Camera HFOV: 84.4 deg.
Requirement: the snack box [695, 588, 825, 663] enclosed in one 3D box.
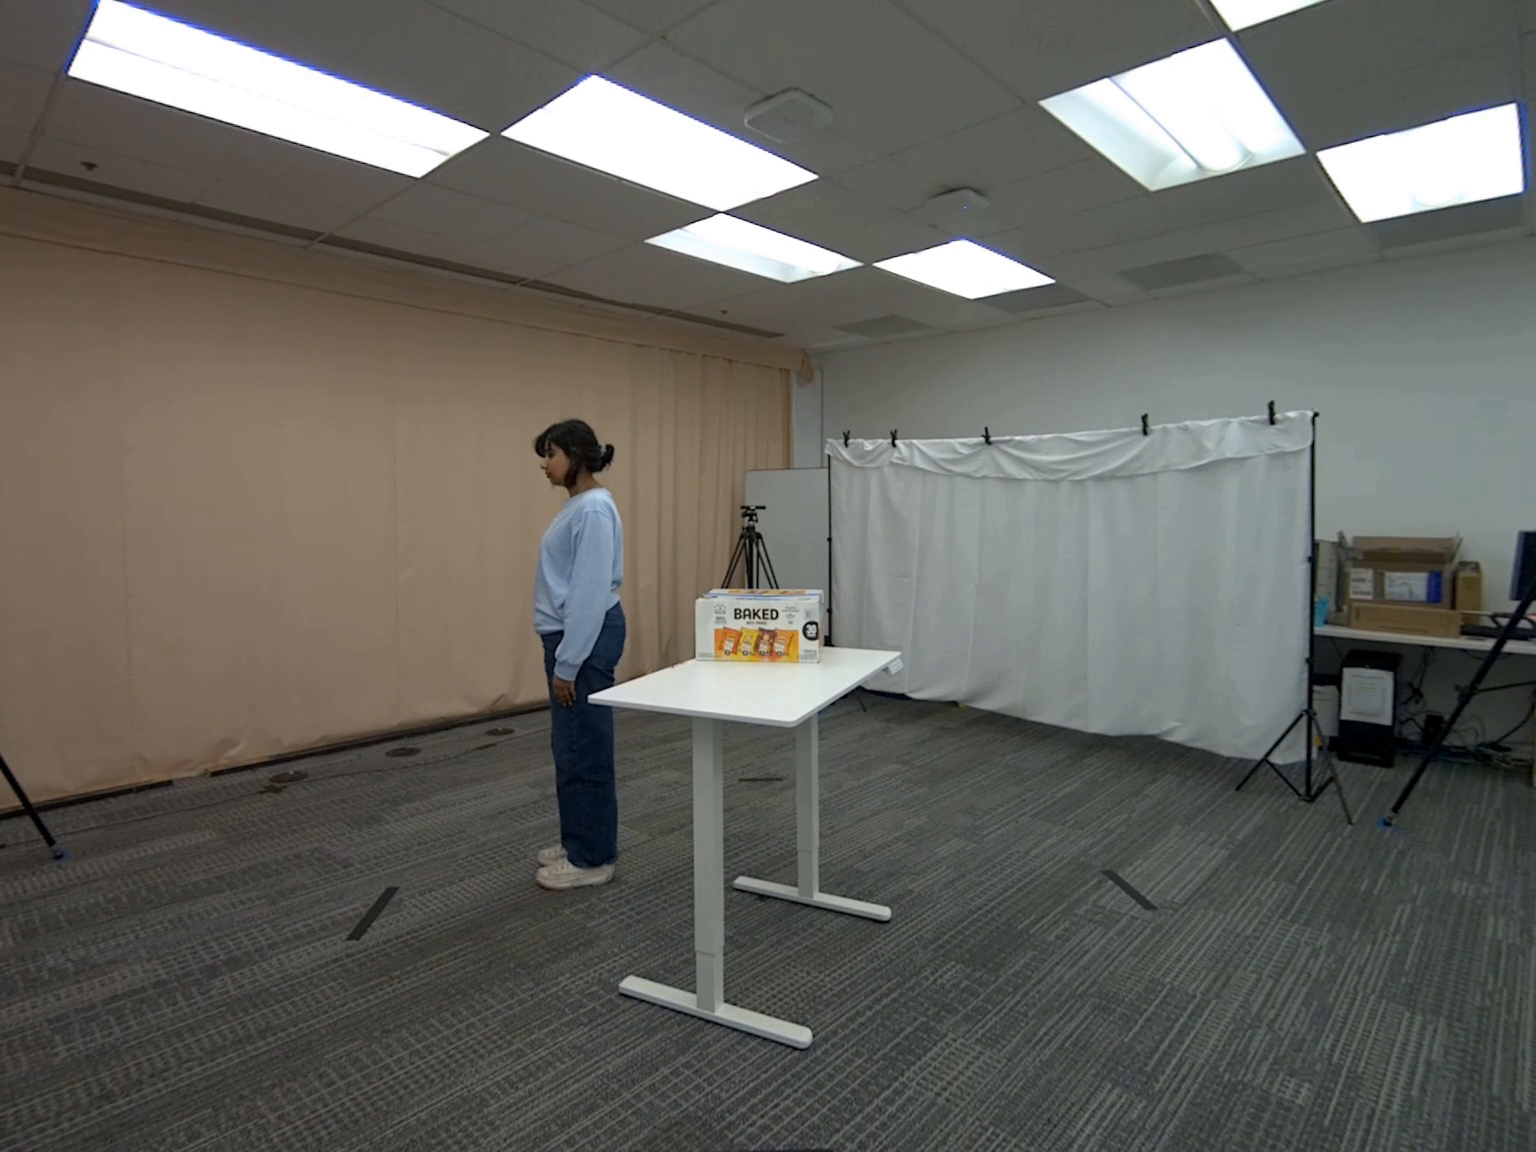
[{"bbox_3d":[-0.015,0.165,2.908,0.409,0.205,0.338,0,4,8],"label":"snack box"}]
